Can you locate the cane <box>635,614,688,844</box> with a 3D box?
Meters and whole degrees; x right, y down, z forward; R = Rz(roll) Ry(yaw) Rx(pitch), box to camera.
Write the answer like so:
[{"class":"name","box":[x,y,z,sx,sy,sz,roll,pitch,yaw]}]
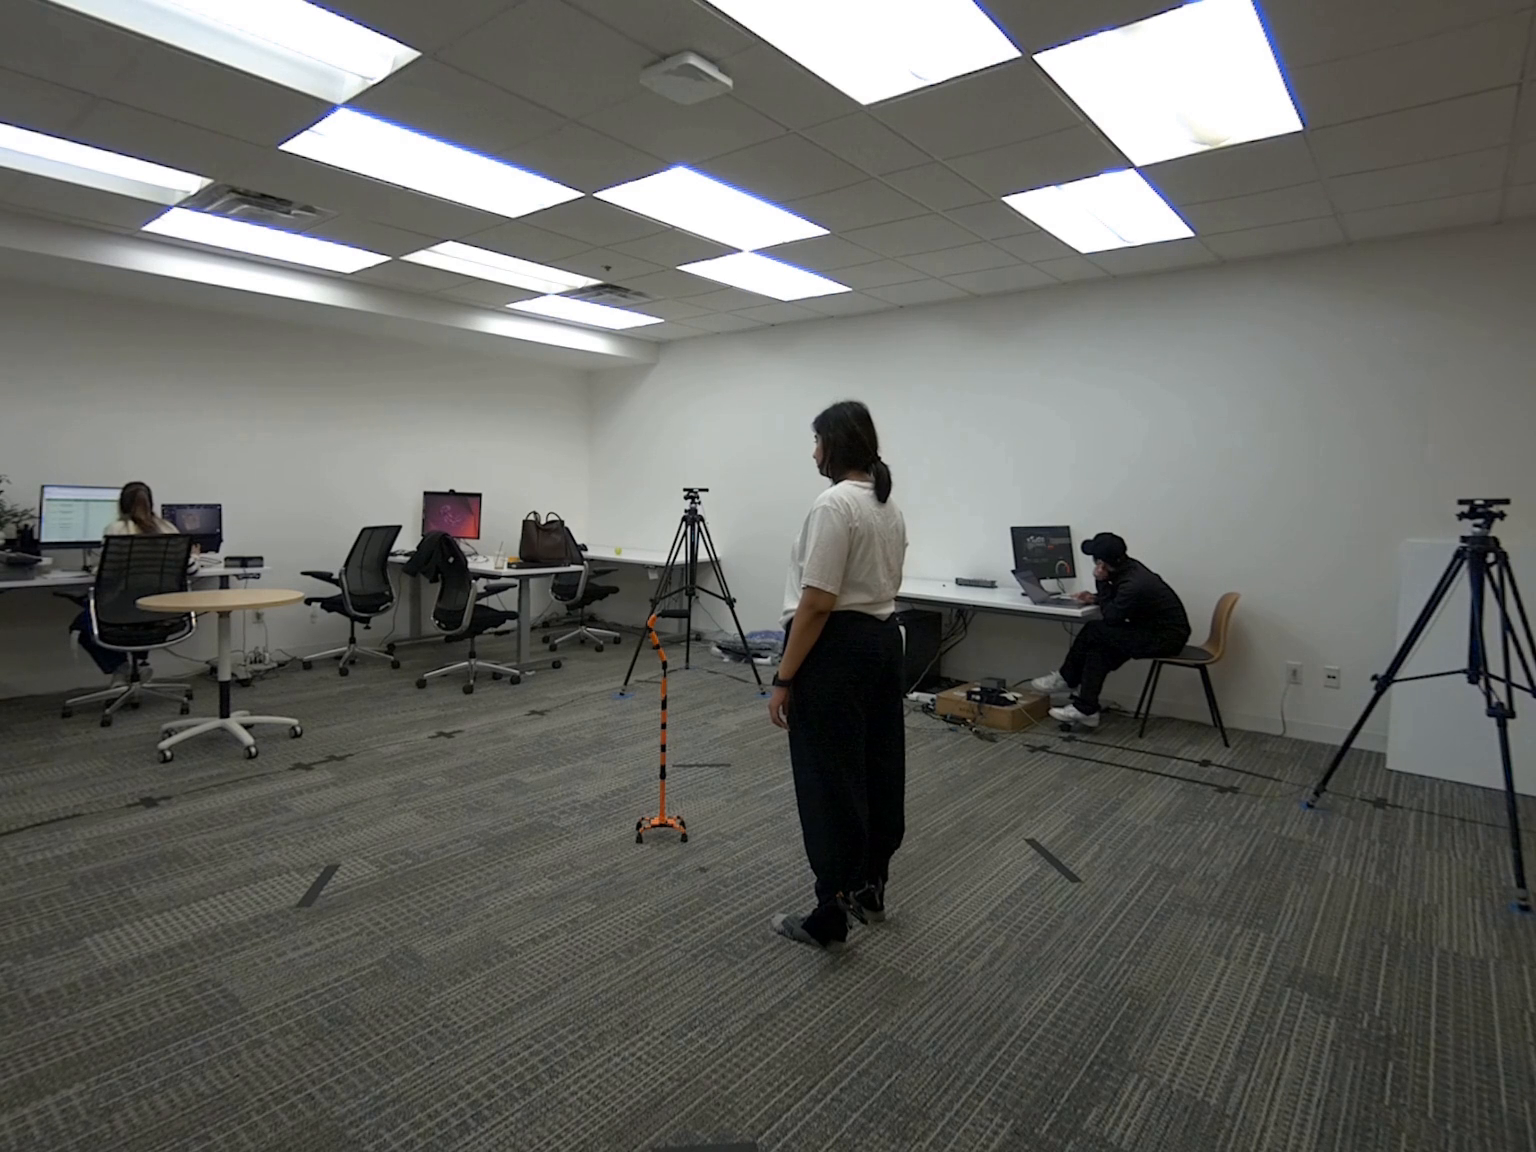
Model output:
[{"class":"cane","box":[-0.426,0.587,3.383,0.205,0.905,0.153,1,3,-7]}]
